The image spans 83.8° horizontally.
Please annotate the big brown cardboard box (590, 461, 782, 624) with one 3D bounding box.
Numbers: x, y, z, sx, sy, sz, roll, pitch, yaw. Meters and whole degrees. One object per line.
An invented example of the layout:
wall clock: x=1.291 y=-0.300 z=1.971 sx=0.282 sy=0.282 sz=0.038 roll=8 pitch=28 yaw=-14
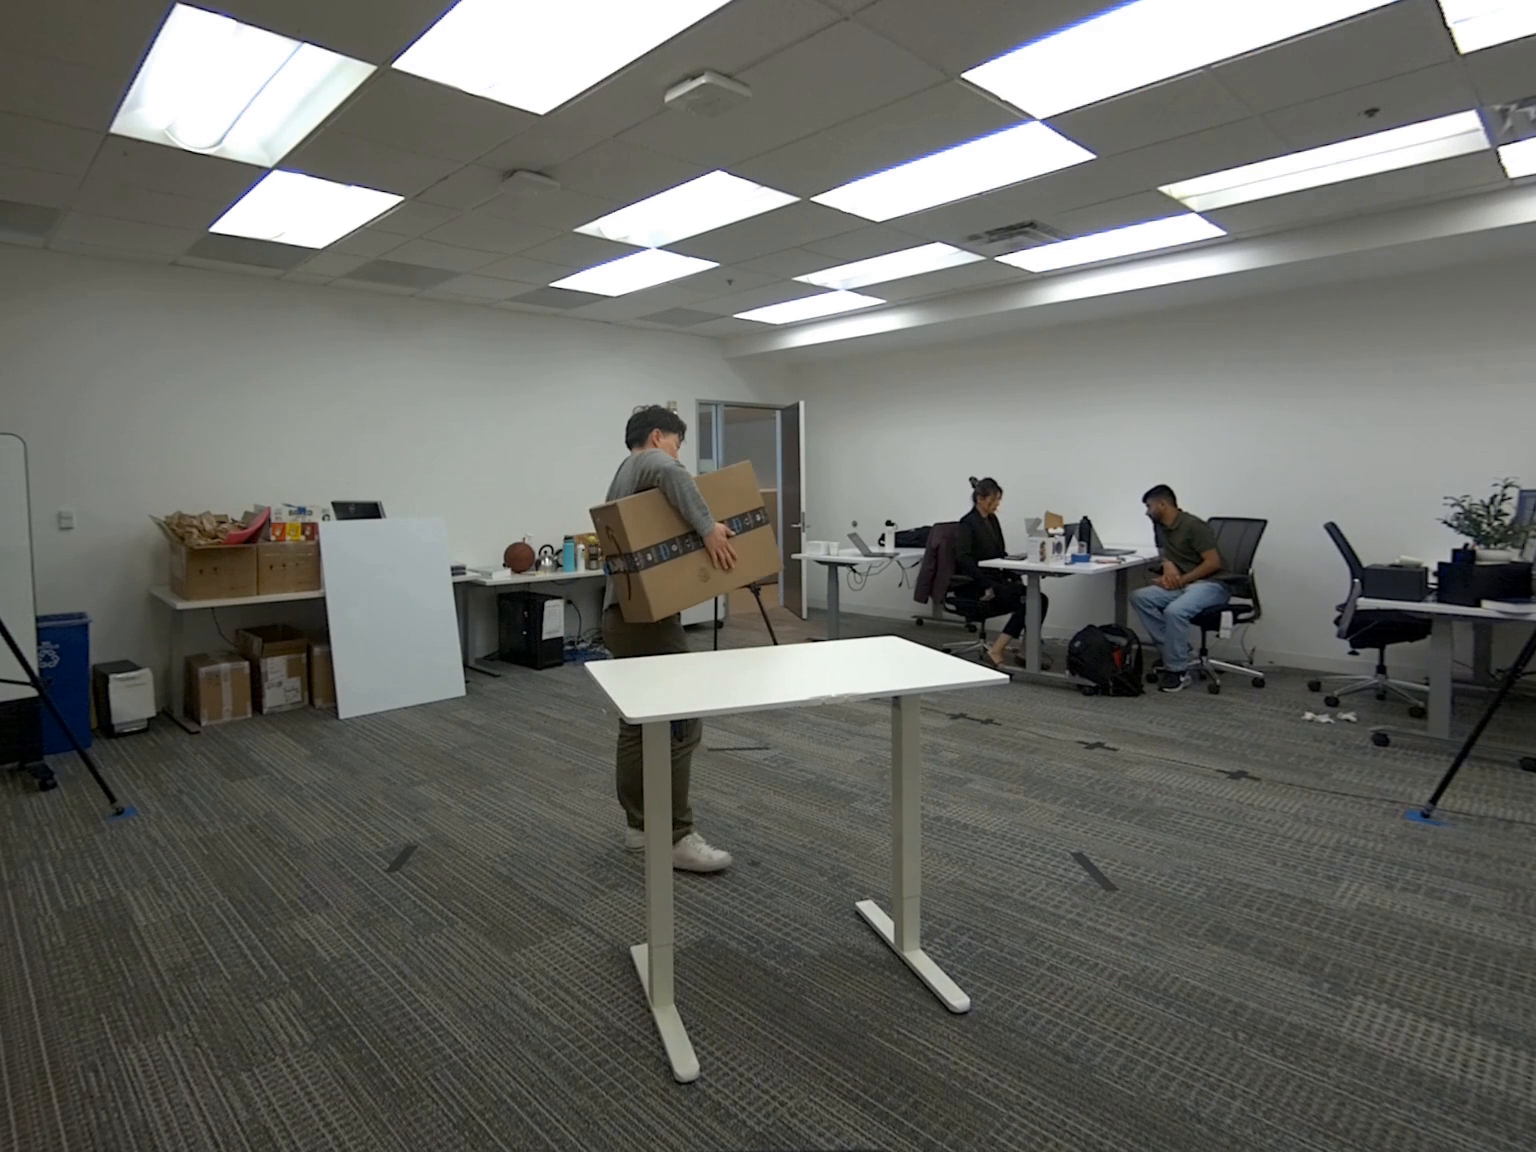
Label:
big brown cardboard box: x=-0.276 y=-0.119 z=2.997 sx=0.579 sy=0.415 sz=0.238 roll=-21 pitch=7 yaw=-33
